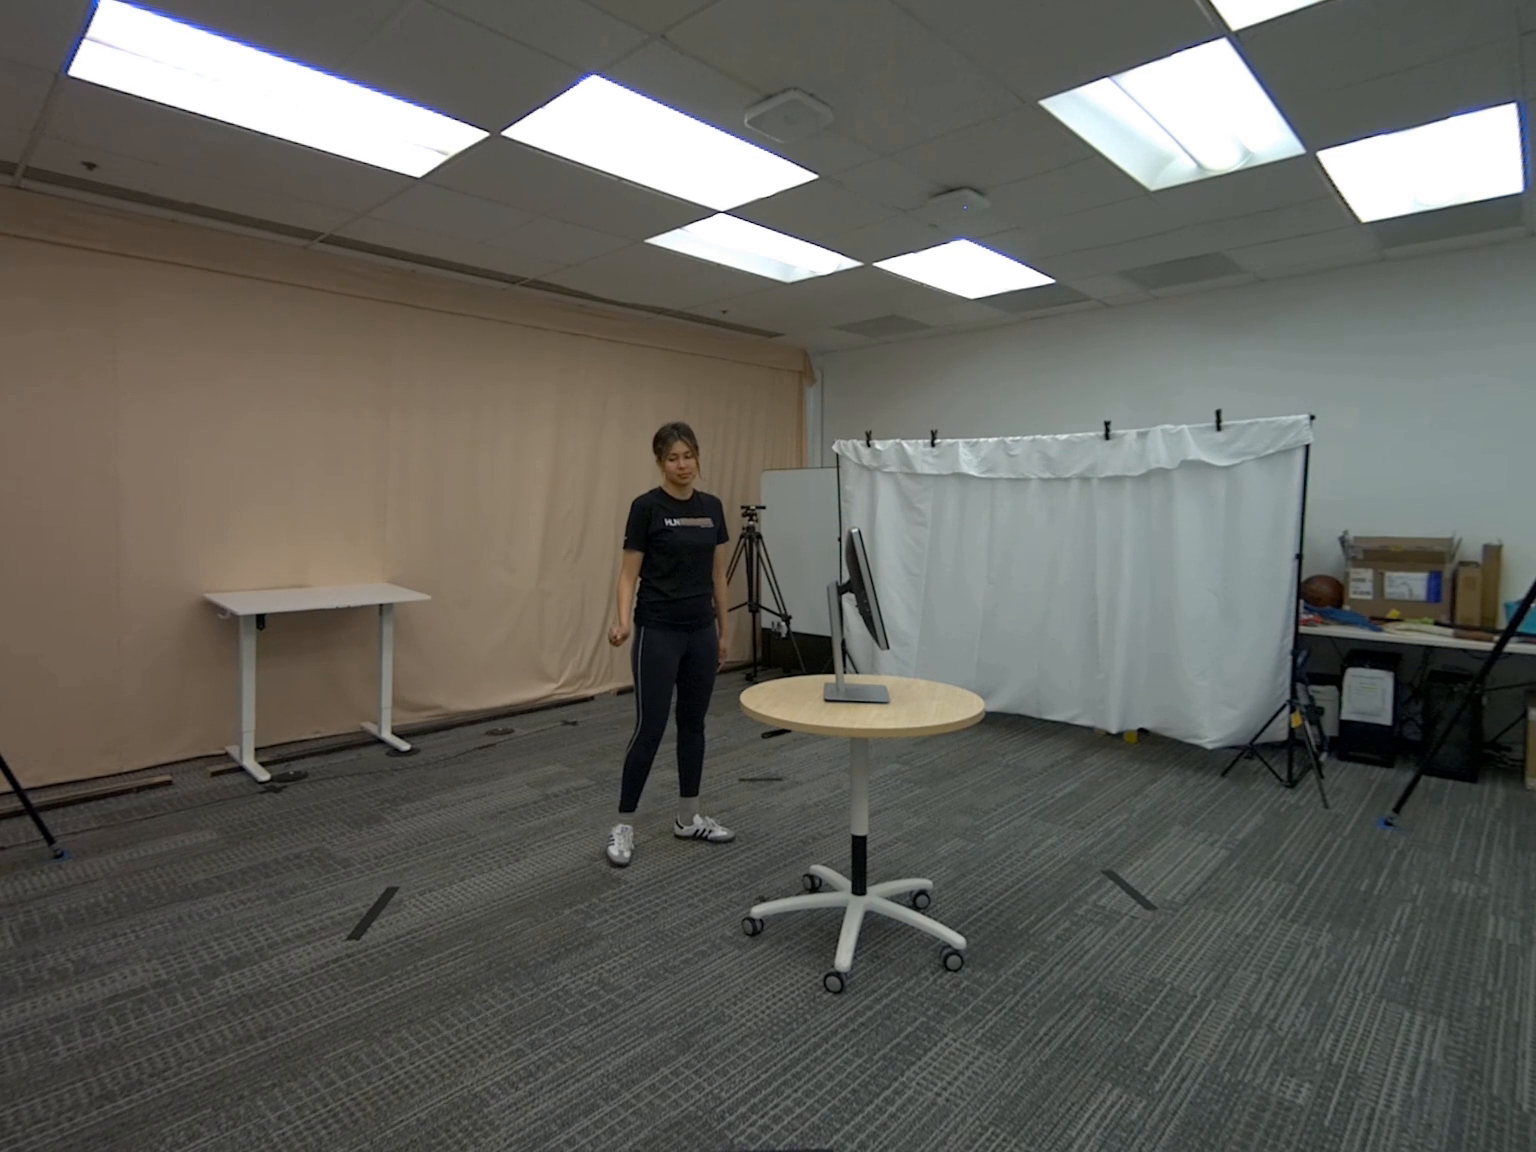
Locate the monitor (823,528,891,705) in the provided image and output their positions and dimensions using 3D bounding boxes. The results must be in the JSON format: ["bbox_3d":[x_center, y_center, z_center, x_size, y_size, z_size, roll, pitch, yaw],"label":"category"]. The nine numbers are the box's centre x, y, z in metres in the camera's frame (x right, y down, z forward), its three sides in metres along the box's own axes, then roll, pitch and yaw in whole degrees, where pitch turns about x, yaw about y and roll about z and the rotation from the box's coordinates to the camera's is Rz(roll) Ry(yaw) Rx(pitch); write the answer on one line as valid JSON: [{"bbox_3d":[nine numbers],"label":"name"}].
[{"bbox_3d":[0.286,0.122,2.724,0.188,0.522,0.537,0,3,3],"label":"monitor"}]
